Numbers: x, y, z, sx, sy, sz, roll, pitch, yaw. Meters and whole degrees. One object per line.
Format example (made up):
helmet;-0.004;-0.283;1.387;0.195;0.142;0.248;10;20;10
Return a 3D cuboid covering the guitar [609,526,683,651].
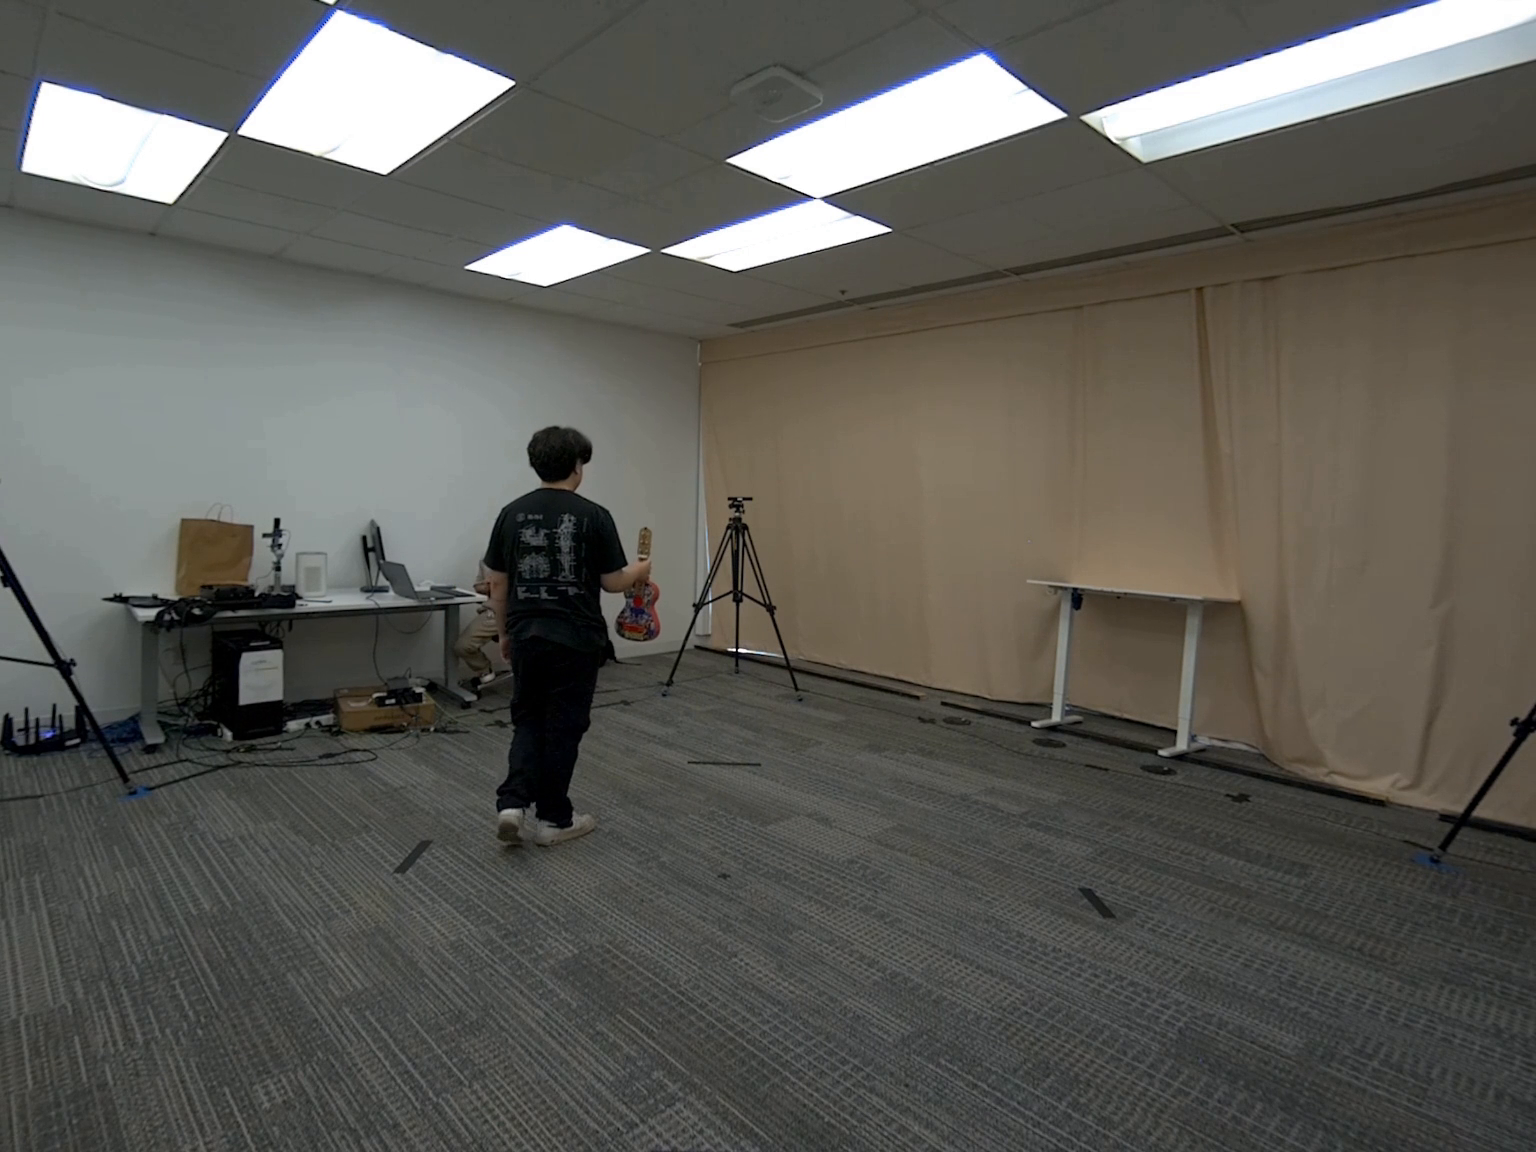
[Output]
guitar;-0.538;0.050;3.682;0.195;0.497;0.070;16;4;12
